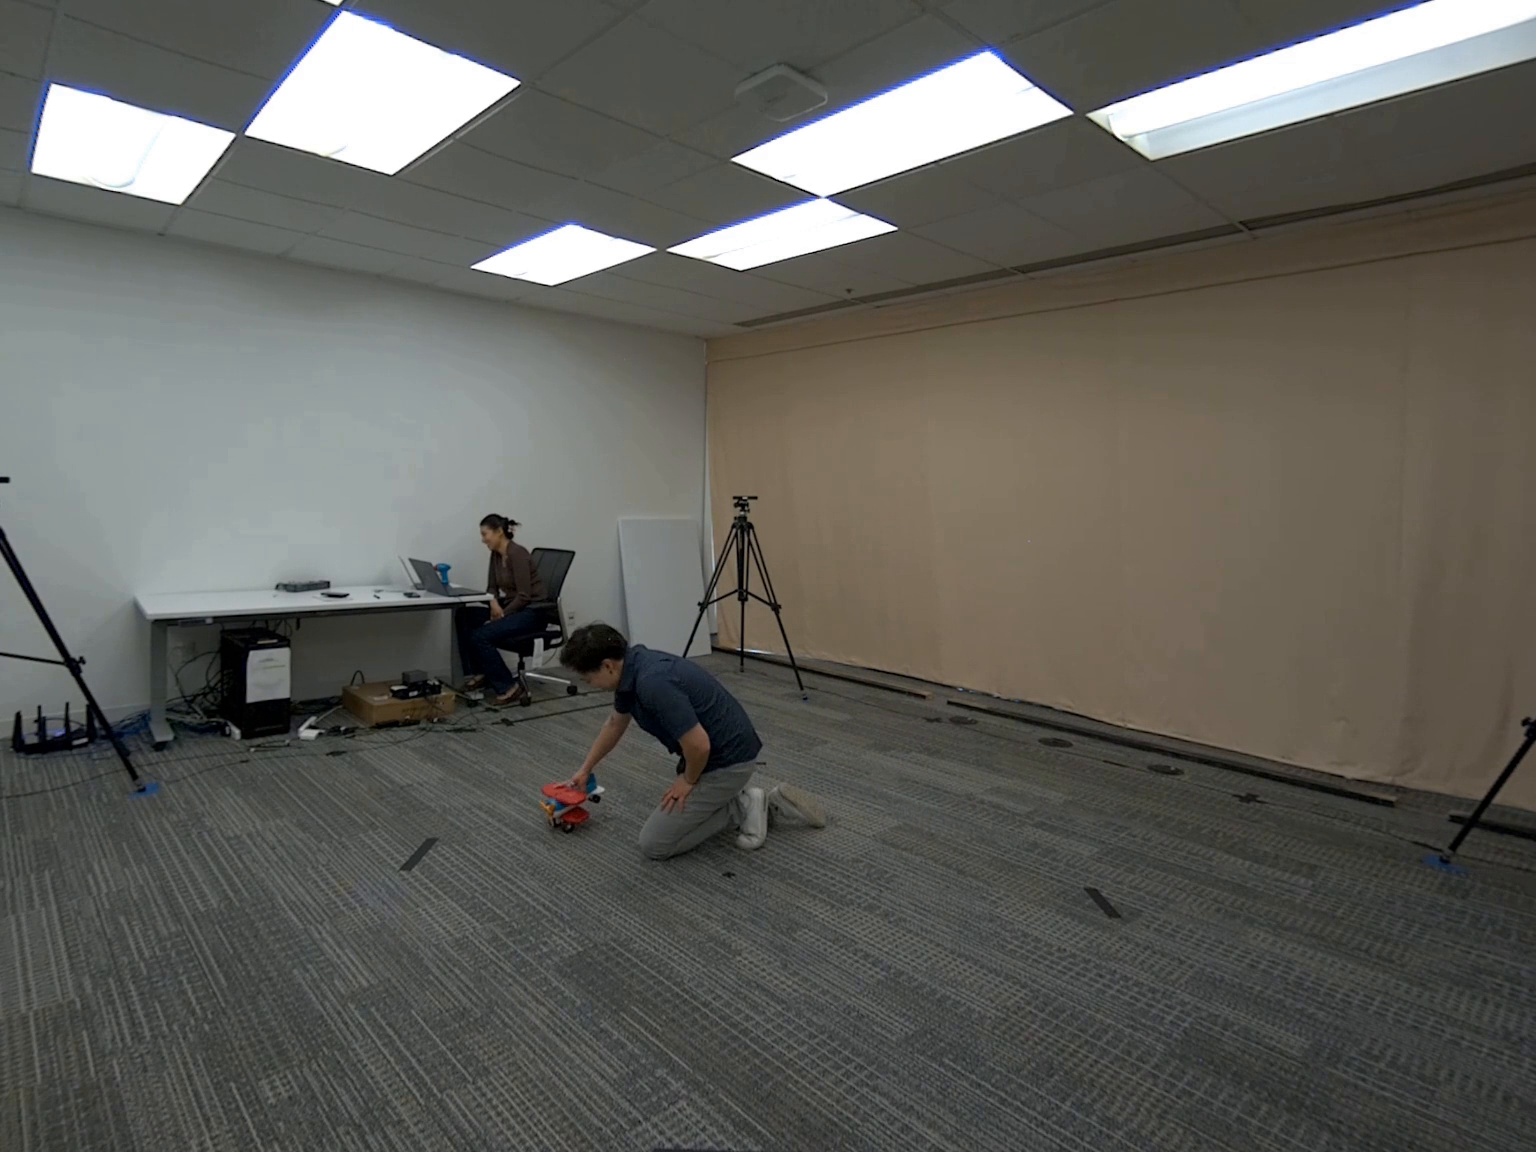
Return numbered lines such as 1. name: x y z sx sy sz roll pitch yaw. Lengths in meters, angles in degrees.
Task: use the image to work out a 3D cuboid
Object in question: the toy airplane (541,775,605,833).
1. toy airplane: -0.832 0.941 3.541 0.254 0.153 0.261 -10 24 16
